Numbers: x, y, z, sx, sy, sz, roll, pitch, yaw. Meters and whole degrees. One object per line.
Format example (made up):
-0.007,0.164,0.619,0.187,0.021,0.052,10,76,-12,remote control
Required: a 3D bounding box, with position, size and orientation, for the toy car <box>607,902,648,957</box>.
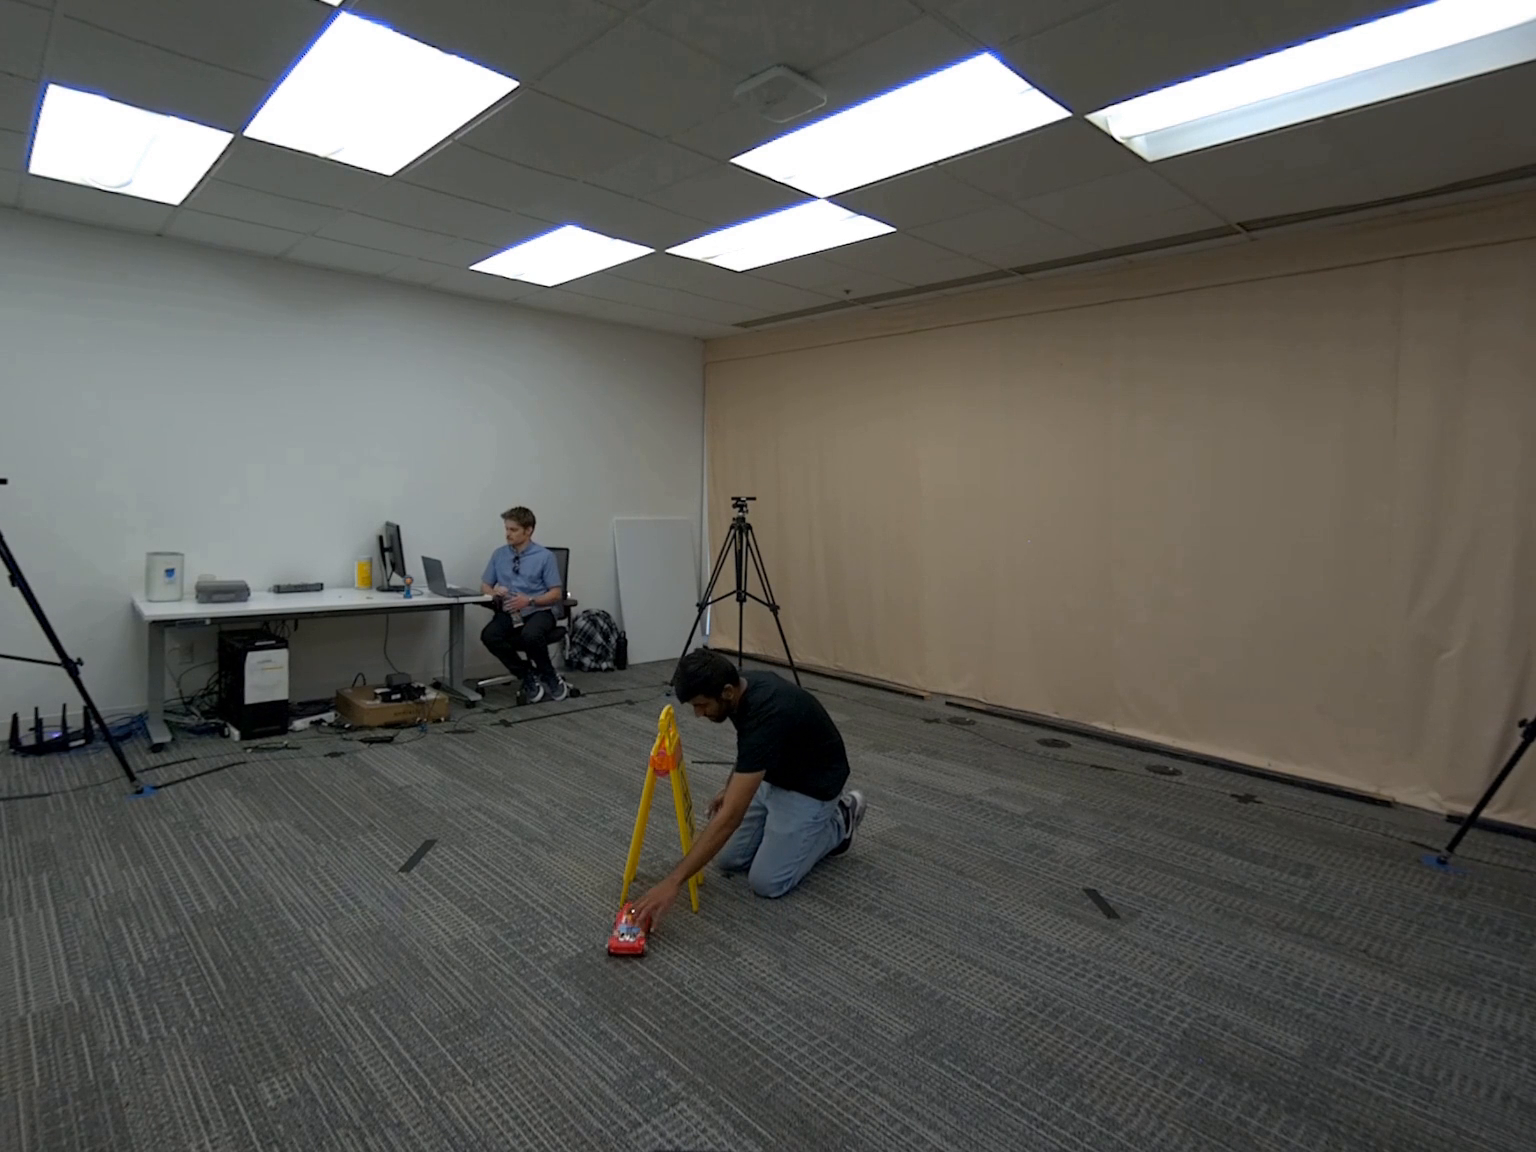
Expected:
-0.433,1.112,2.660,0.130,0.082,0.257,2,16,0,toy car
